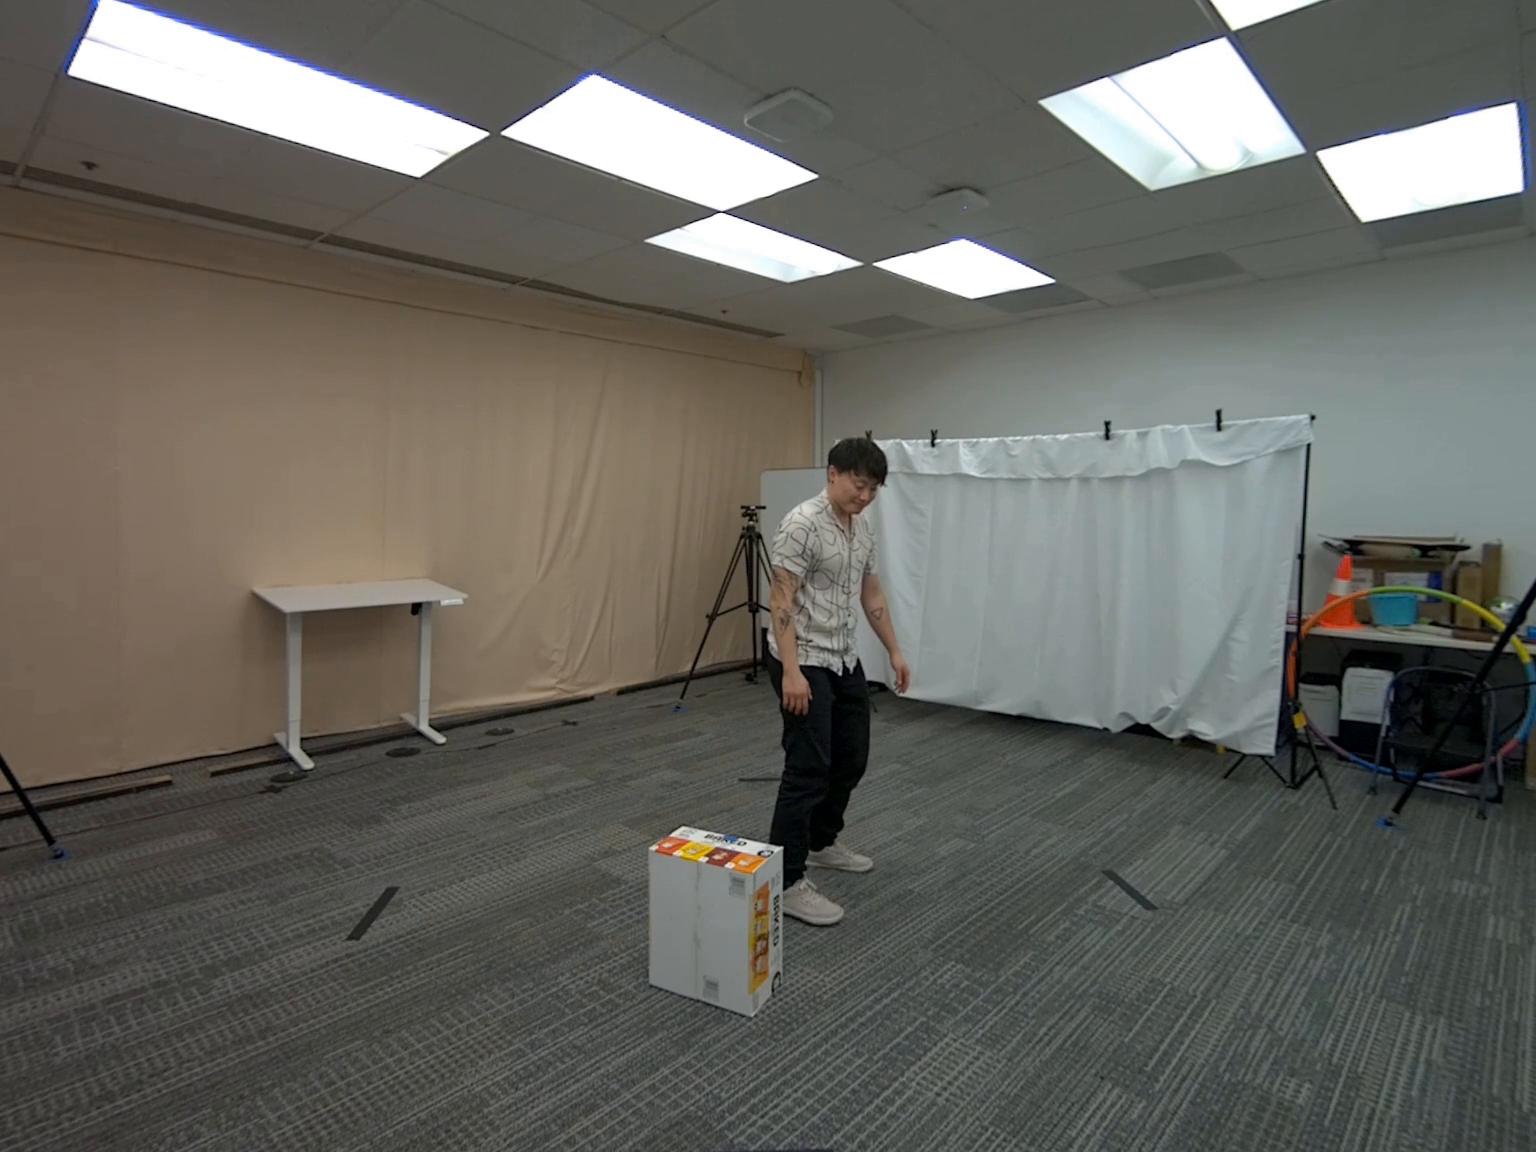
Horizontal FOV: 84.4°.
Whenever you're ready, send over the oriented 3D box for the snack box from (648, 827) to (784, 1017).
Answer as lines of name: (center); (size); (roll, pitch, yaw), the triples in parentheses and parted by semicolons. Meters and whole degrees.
snack box: (-0.149, 0.986, 2.438); (0.349, 0.404, 0.200); (2, 3, 27)
